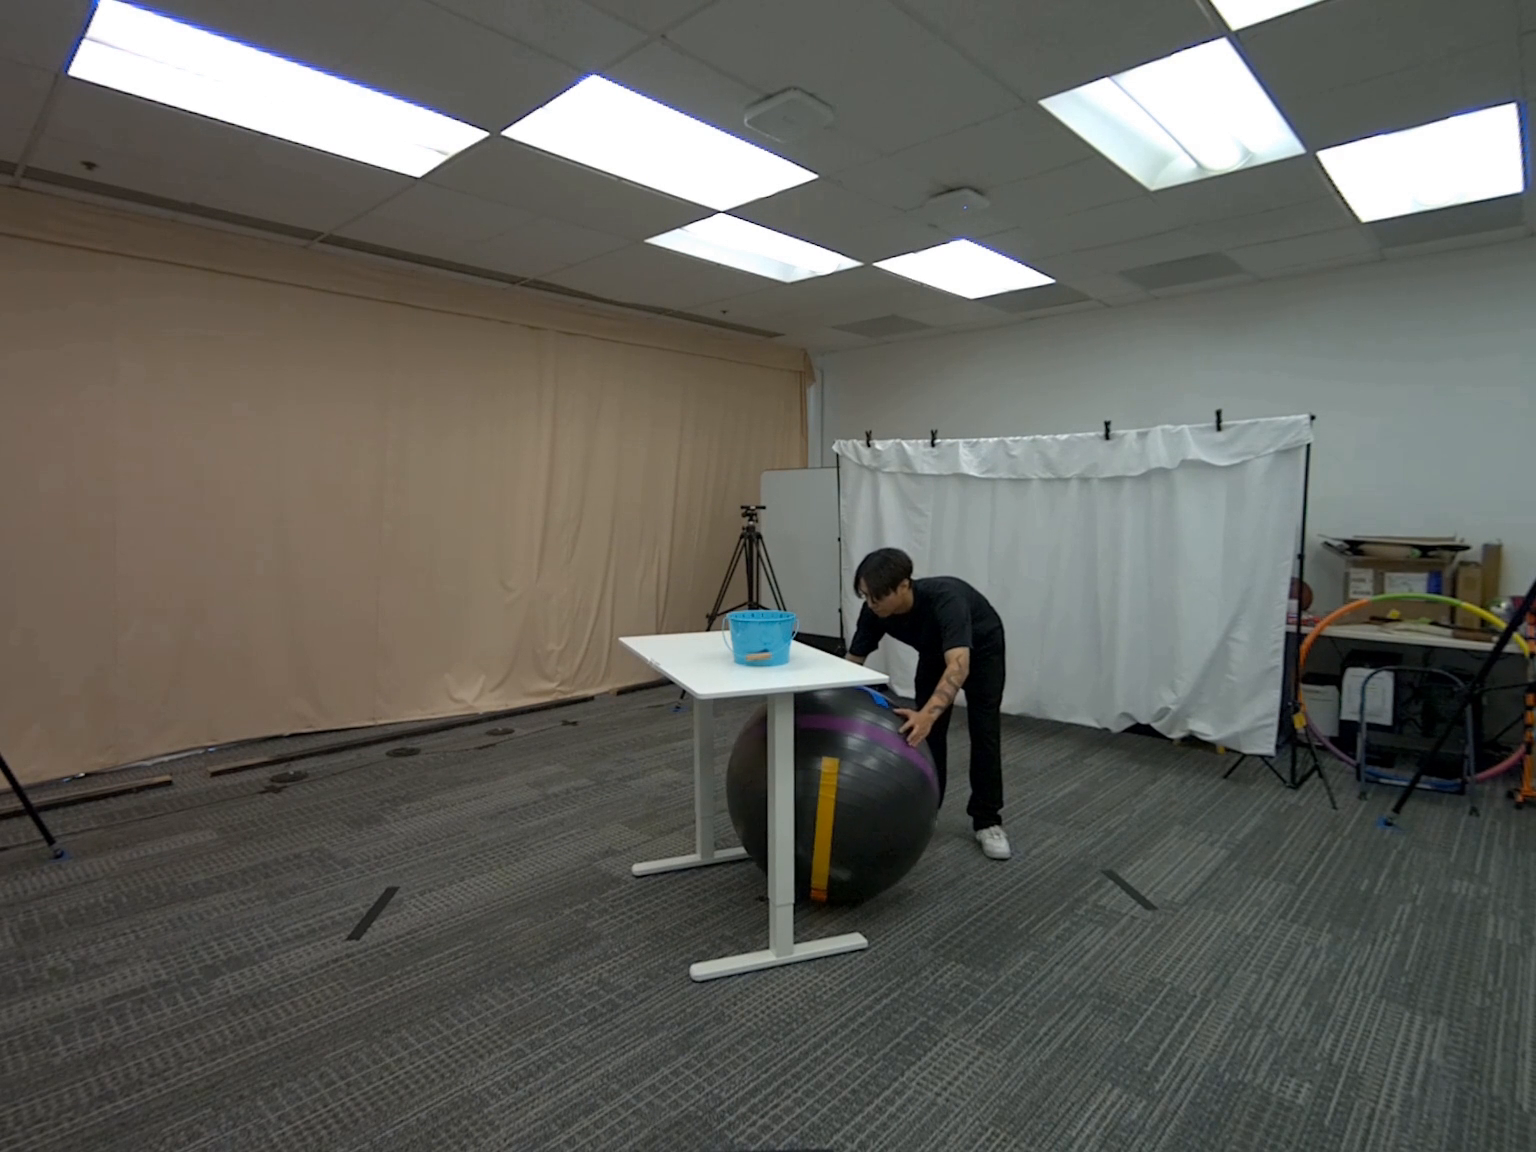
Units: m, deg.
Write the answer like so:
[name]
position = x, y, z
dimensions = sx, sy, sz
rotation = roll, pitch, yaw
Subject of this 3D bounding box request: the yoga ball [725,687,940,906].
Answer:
[yoga ball]
position = 0.234, 0.767, 3.038
dimensions = 0.757, 0.756, 0.760
rotation = 0, 4, -2
